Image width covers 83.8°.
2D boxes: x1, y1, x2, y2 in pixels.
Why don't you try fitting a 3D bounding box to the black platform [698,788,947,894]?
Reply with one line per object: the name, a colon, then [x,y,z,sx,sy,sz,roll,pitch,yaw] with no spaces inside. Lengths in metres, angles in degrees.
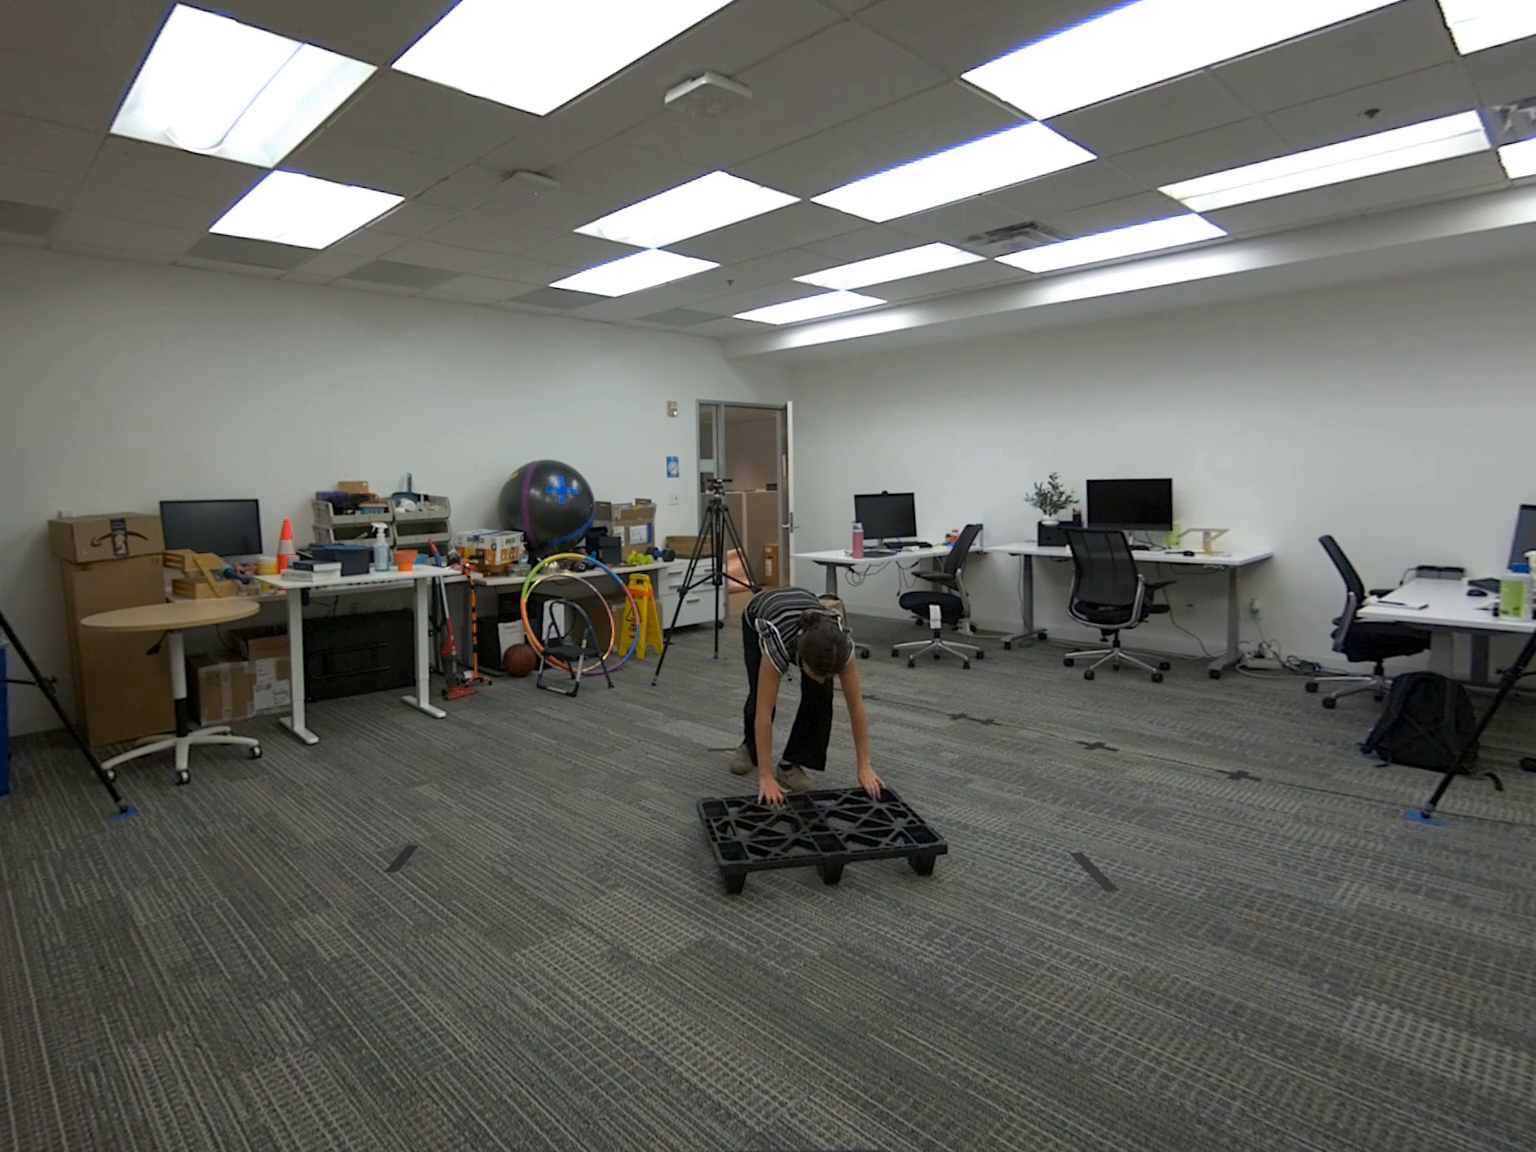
black platform: [0.171,0.966,3.157,0.798,0.142,0.614,-2,7,-11]
